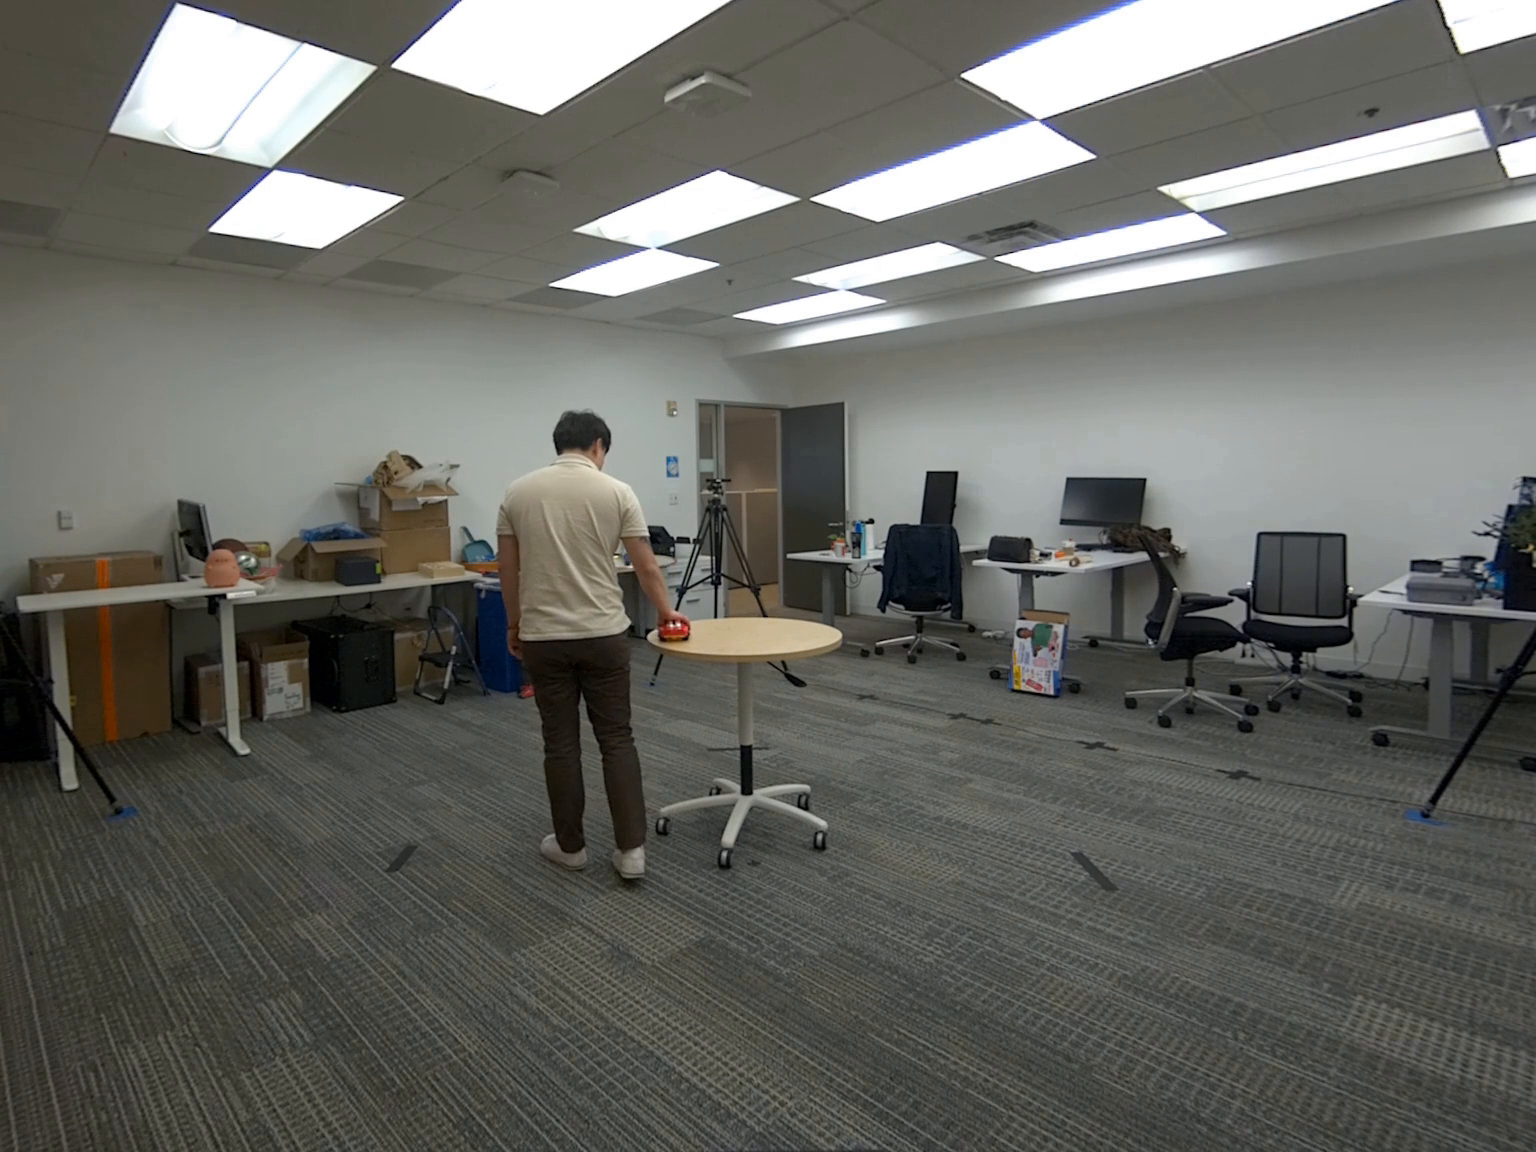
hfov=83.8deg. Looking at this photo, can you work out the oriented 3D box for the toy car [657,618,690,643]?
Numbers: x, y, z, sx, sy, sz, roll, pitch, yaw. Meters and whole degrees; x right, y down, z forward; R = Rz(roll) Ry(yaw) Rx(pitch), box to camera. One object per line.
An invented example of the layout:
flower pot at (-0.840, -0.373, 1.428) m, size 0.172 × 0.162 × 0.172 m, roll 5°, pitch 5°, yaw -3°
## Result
toy car at (-0.362, 0.208, 3.319) m, size 0.130 × 0.083 × 0.254 m, roll -1°, pitch -3°, yaw -6°
